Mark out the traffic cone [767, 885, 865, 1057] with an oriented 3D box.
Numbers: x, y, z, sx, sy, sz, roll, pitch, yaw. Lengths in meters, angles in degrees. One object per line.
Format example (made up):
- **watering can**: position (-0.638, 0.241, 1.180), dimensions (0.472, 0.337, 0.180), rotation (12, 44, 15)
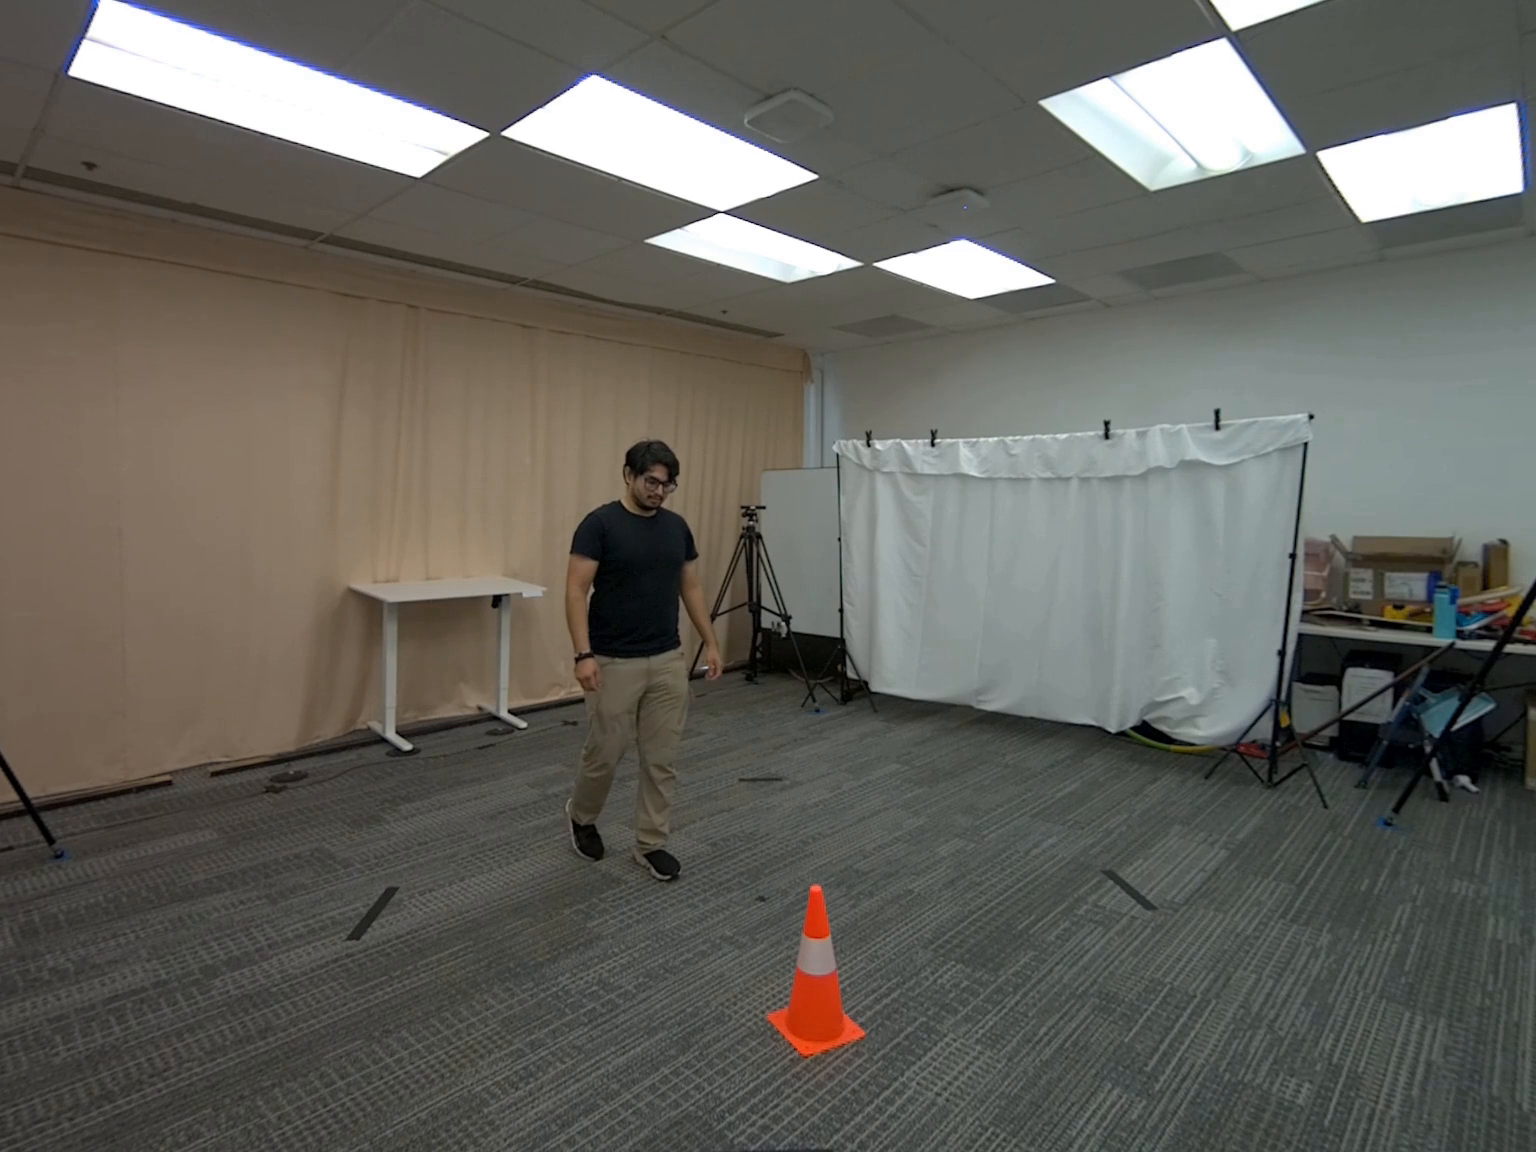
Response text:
- **traffic cone**: position (0.134, 1.022, 2.241), dimensions (0.197, 0.383, 0.211), rotation (0, 2, -33)
